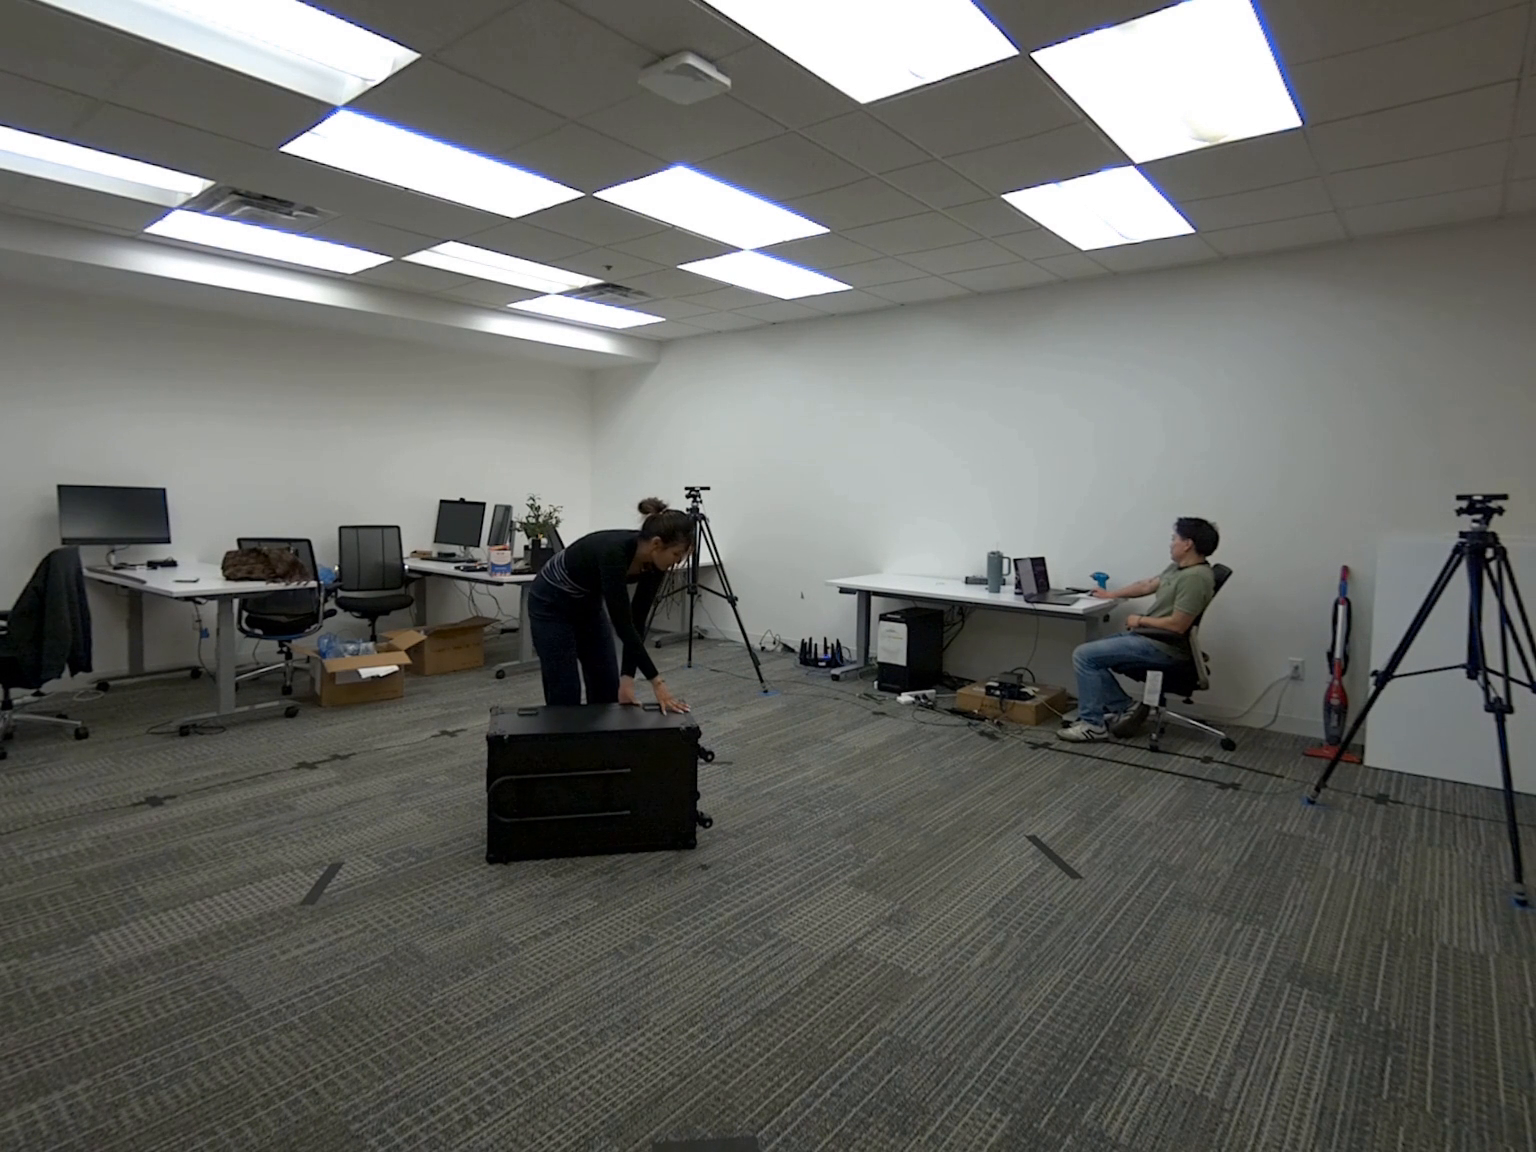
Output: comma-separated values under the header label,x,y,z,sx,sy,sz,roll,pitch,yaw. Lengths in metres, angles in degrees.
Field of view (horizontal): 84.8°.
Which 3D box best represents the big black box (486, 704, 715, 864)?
label,x,y,z,sx,sy,sz,roll,pitch,yaw
big black box,-0.666,0.783,3.329,0.850,0.518,0.404,0,7,-13
